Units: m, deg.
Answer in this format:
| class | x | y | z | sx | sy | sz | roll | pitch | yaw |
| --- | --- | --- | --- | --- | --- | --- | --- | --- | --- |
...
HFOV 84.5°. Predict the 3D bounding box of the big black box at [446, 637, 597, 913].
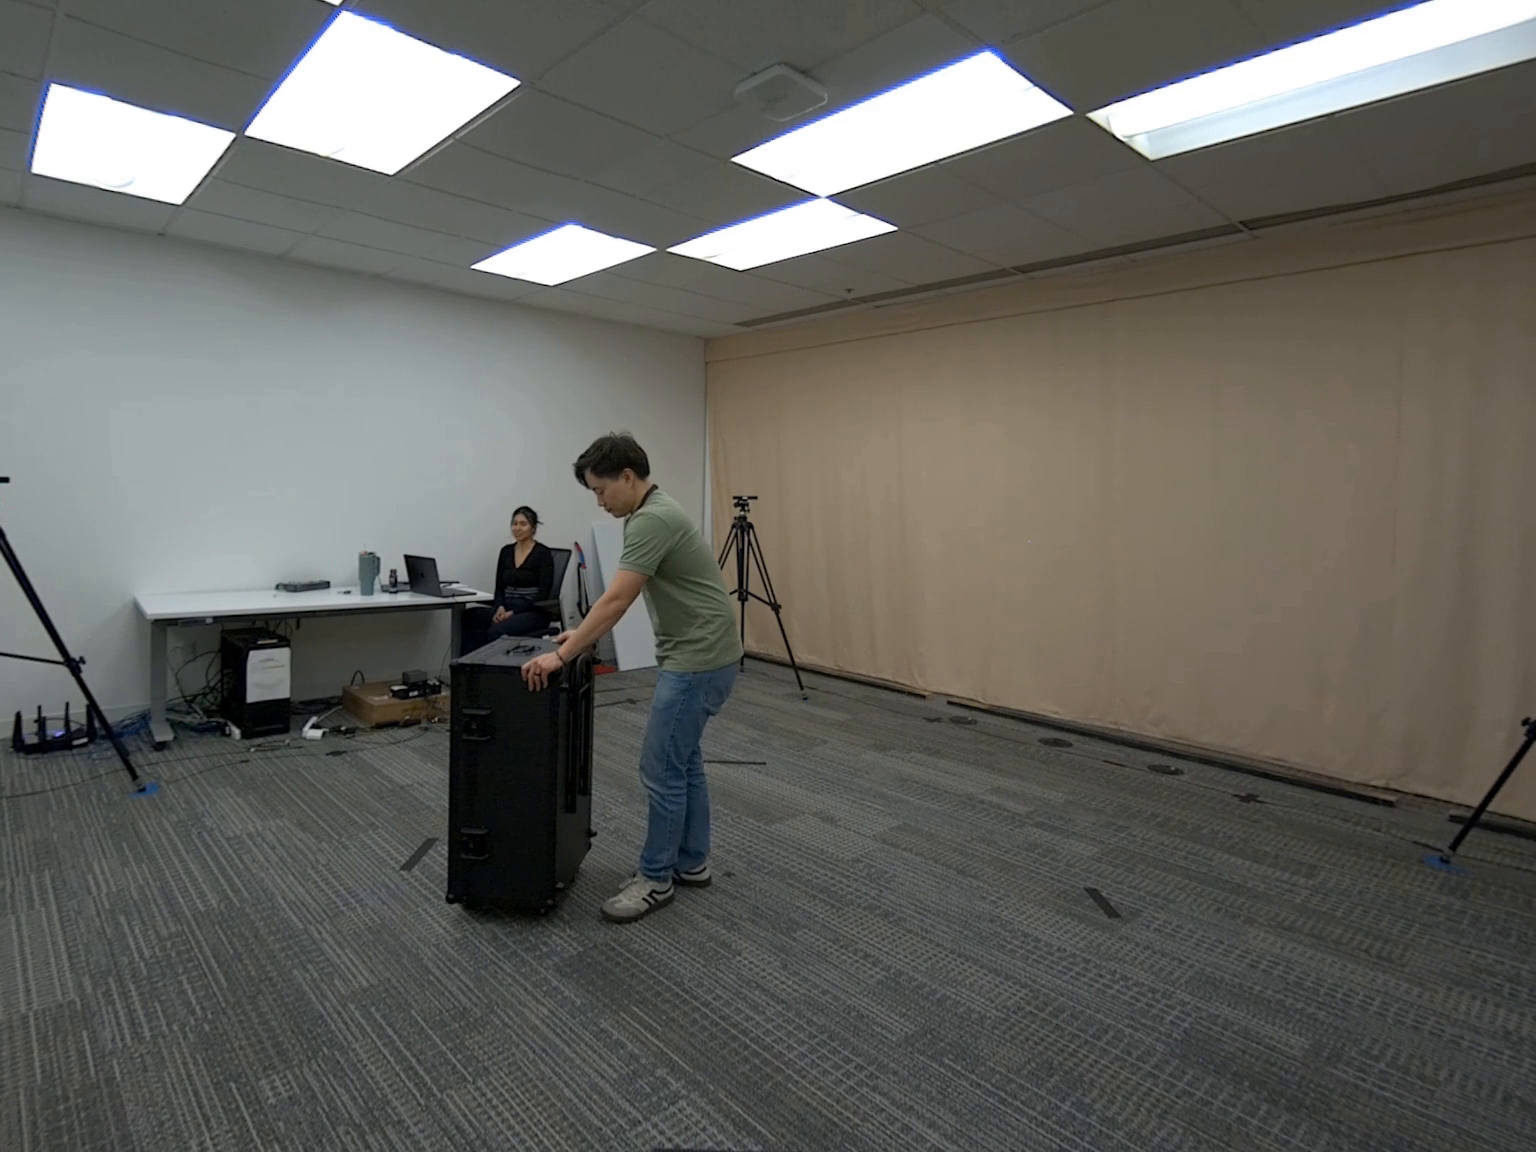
| class | x | y | z | sx | sy | sz | roll | pitch | yaw |
| --- | --- | --- | --- | --- | --- | --- | --- | --- | --- |
| big black box | -0.822 | 0.683 | 2.898 | 0.397 | 0.859 | 0.521 | 3 | 4 | 3 |
